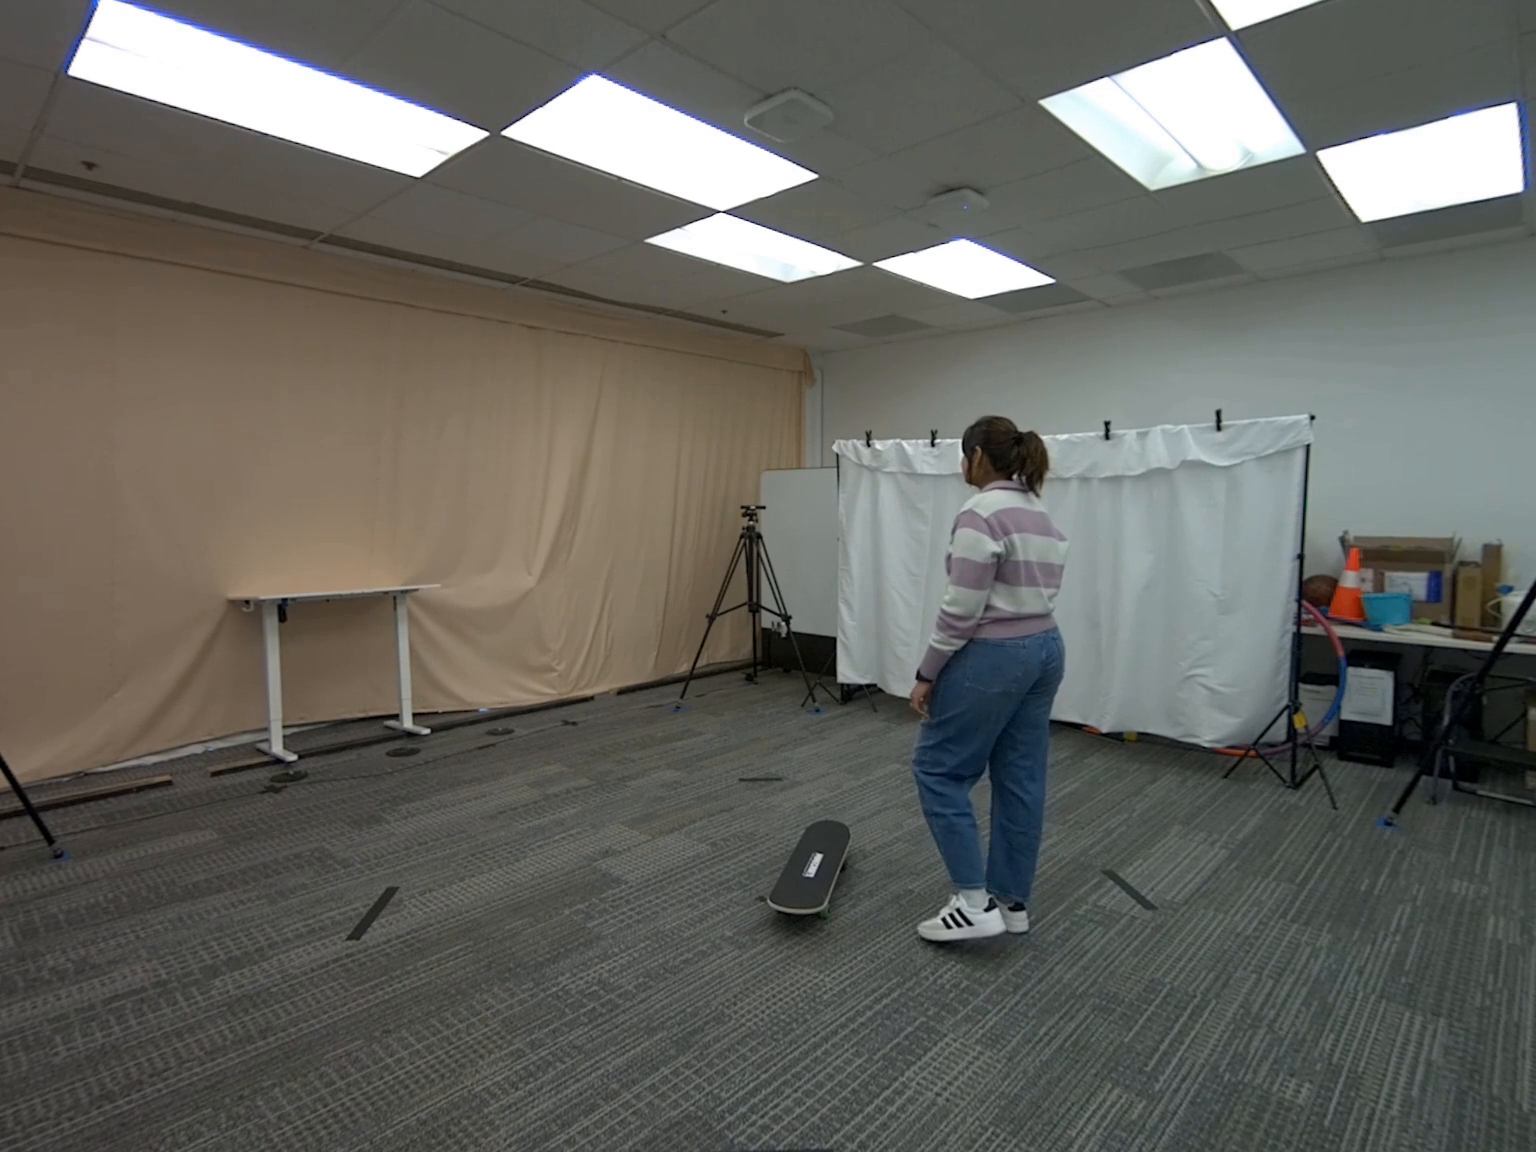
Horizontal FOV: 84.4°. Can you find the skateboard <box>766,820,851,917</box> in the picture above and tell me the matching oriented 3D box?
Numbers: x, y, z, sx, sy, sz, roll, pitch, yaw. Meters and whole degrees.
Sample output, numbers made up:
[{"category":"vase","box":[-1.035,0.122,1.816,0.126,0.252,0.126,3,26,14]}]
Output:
[{"category":"skateboard","box":[0.169,1.080,3.055,0.197,0.110,0.774,1,5,14]}]
